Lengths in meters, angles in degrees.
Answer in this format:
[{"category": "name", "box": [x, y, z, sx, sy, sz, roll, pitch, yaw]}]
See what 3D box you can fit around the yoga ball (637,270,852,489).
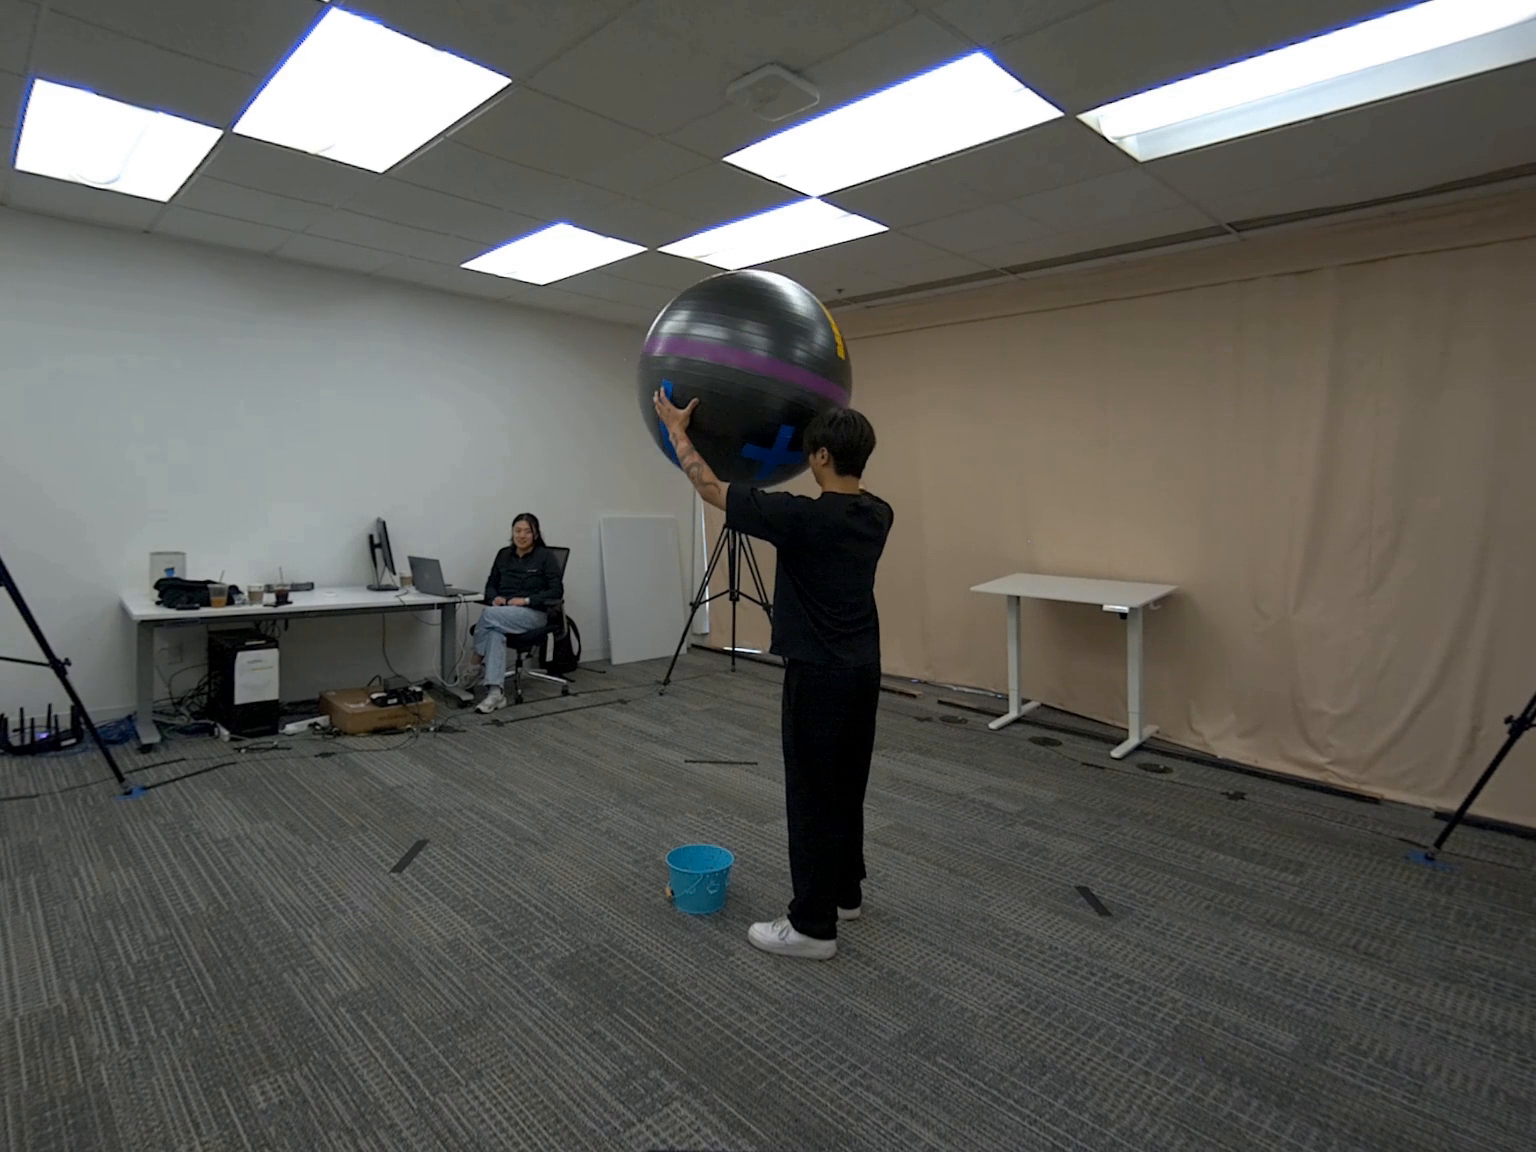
[{"category": "yoga ball", "box": [-0.085, -0.681, 3.003, 0.757, 0.756, 0.761, 1, 4, -1]}]
